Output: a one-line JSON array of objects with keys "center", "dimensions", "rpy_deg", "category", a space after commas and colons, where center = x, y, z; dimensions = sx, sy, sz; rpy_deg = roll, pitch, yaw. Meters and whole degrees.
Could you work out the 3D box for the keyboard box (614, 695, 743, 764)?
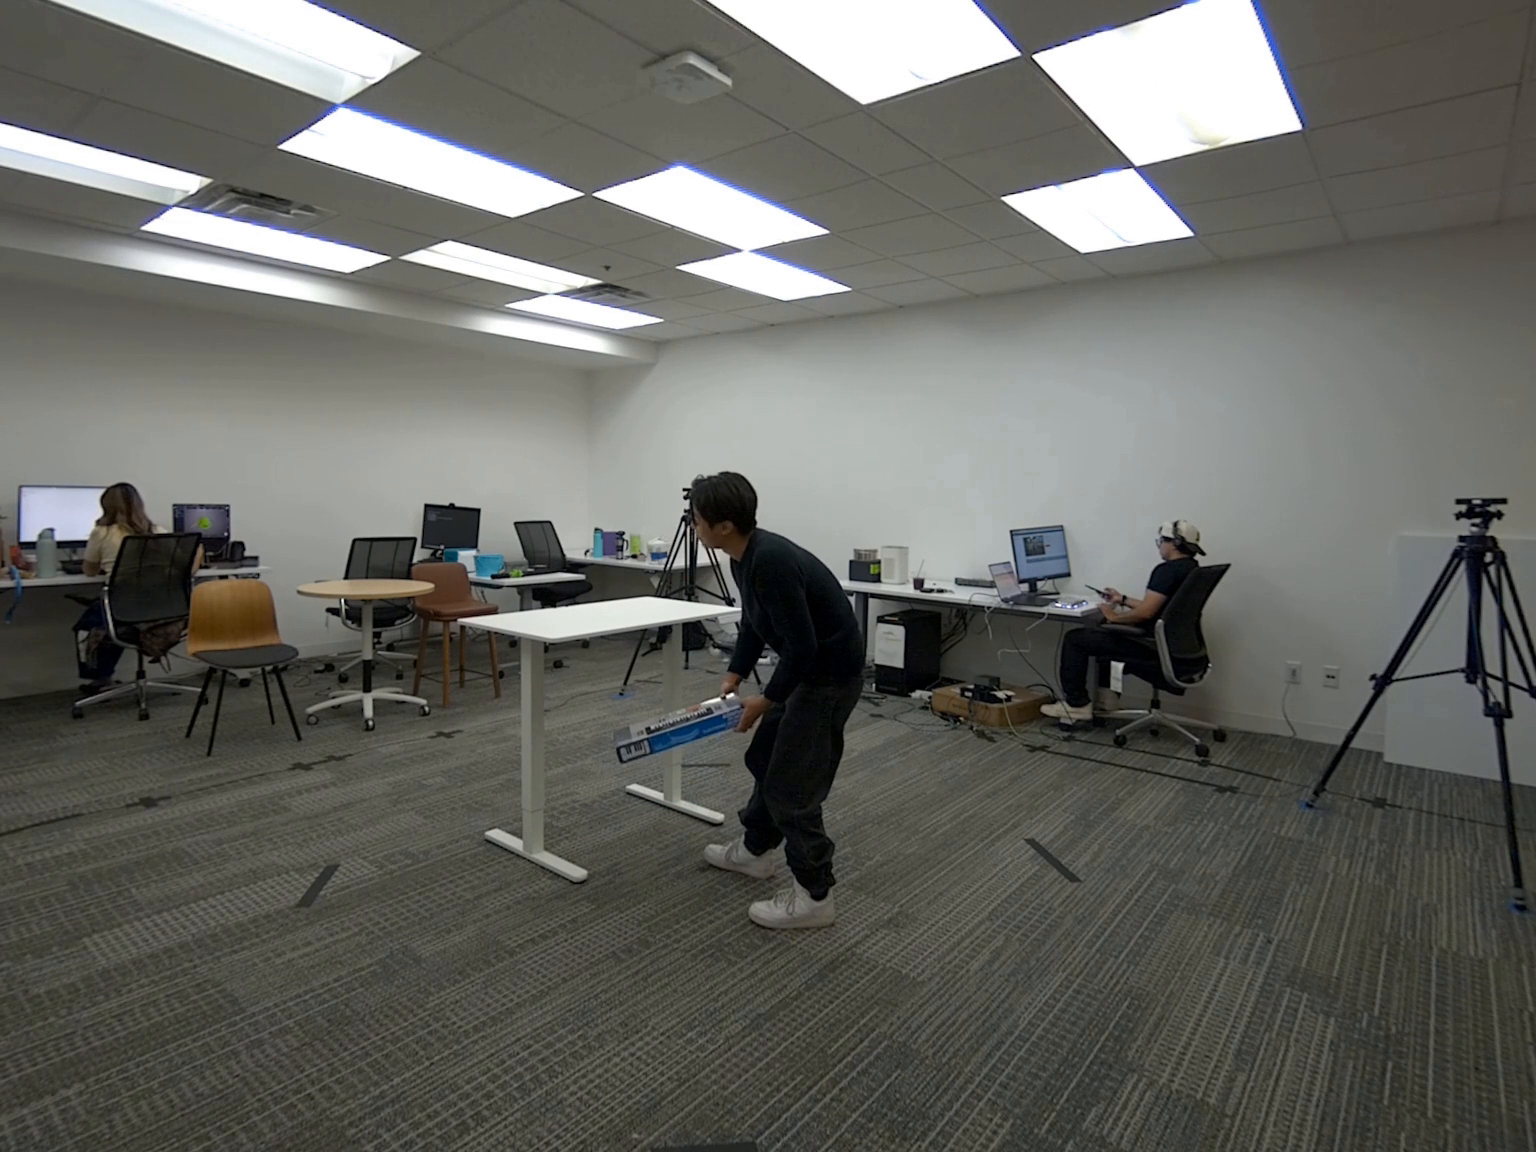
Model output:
[{"center": [-0.304, 0.493, 2.811], "dimensions": [0.434, 0.058, 0.179], "rpy_deg": [-16, 11, -9], "category": "keyboard box"}]
